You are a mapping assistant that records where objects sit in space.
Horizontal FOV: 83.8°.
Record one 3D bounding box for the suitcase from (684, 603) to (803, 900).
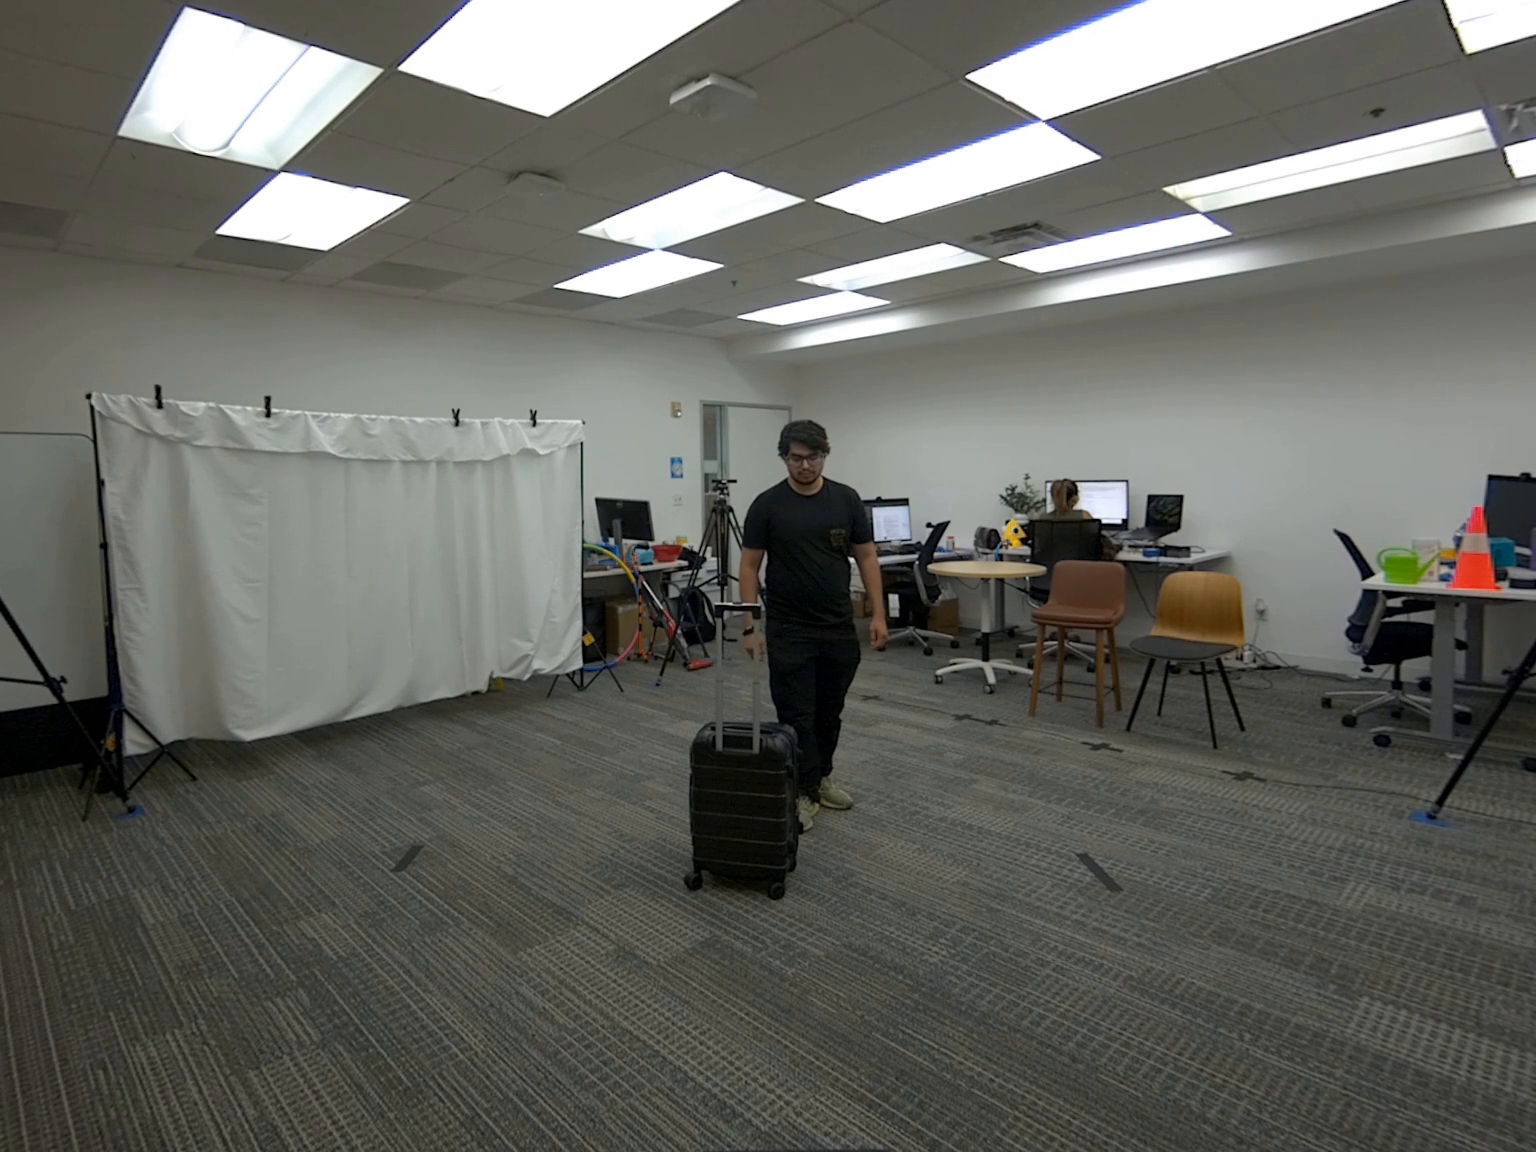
[{"bbox_3d":[-0.081,0.585,2.982,0.390,0.978,0.253,1,1,15],"label":"suitcase"}]
